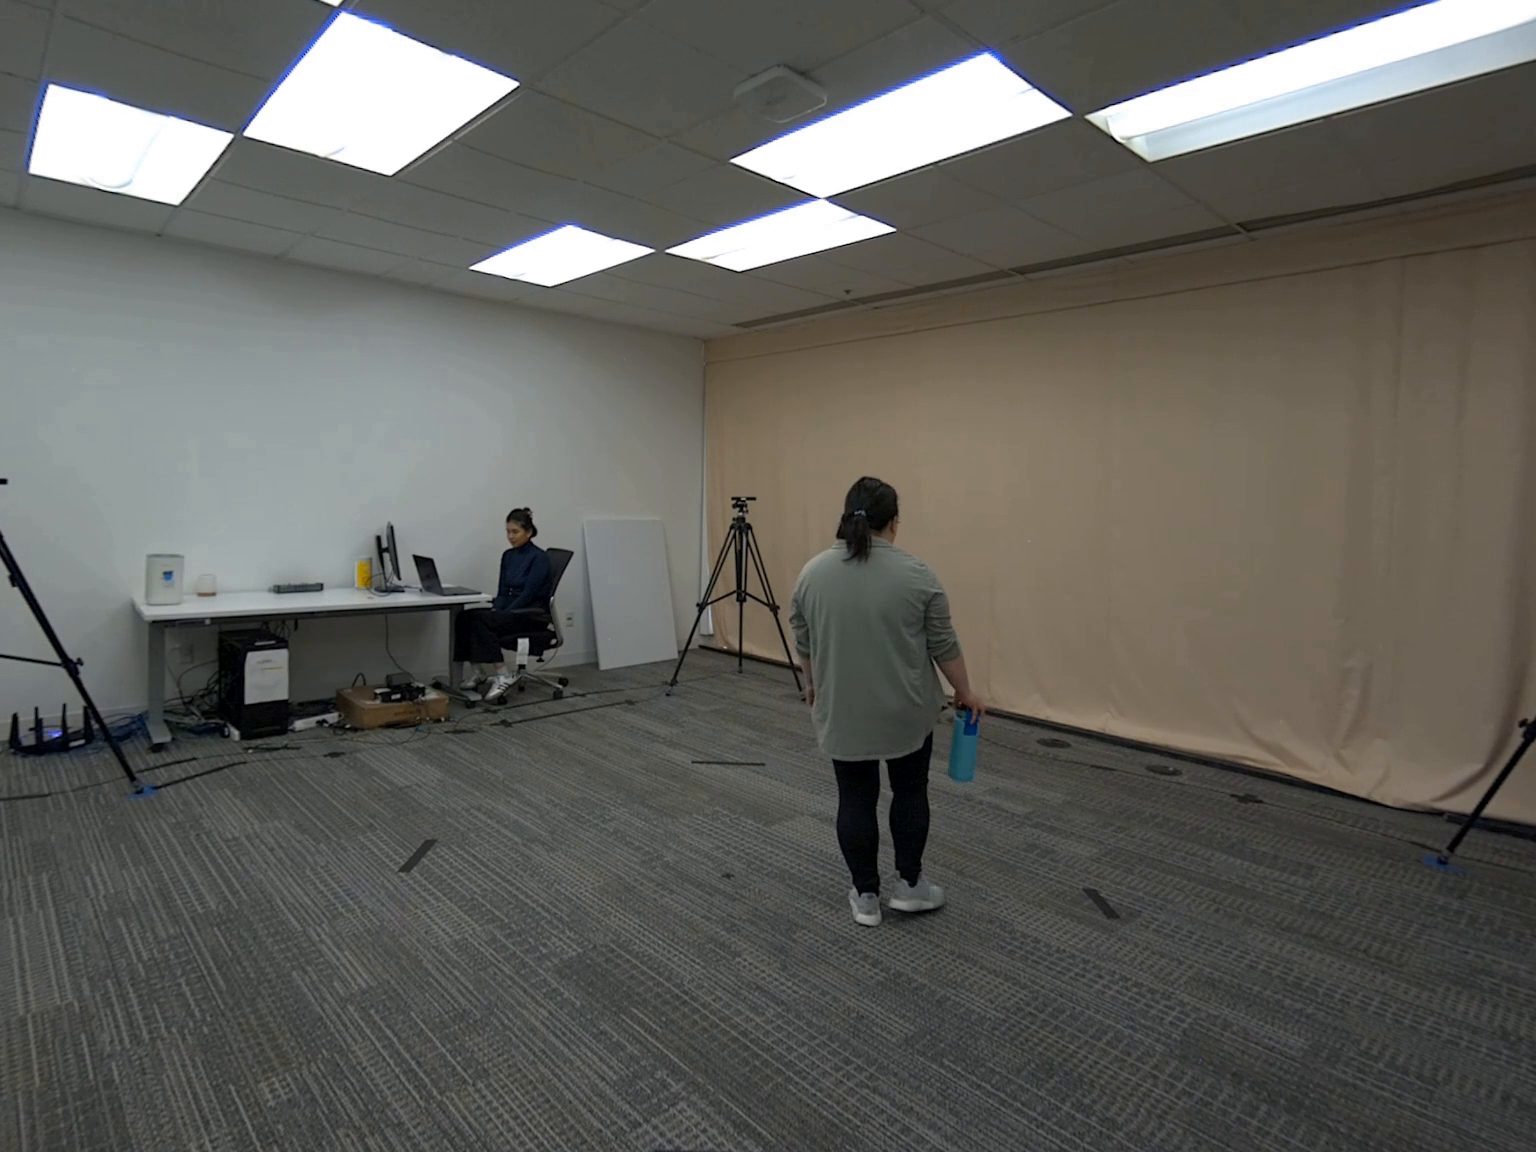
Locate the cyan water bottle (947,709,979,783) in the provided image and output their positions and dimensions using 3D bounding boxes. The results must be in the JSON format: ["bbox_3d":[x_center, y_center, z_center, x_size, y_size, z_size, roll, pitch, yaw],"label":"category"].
[{"bbox_3d":[0.669,0.570,2.900,0.092,0.282,0.093,3,9,-2],"label":"cyan water bottle"}]
